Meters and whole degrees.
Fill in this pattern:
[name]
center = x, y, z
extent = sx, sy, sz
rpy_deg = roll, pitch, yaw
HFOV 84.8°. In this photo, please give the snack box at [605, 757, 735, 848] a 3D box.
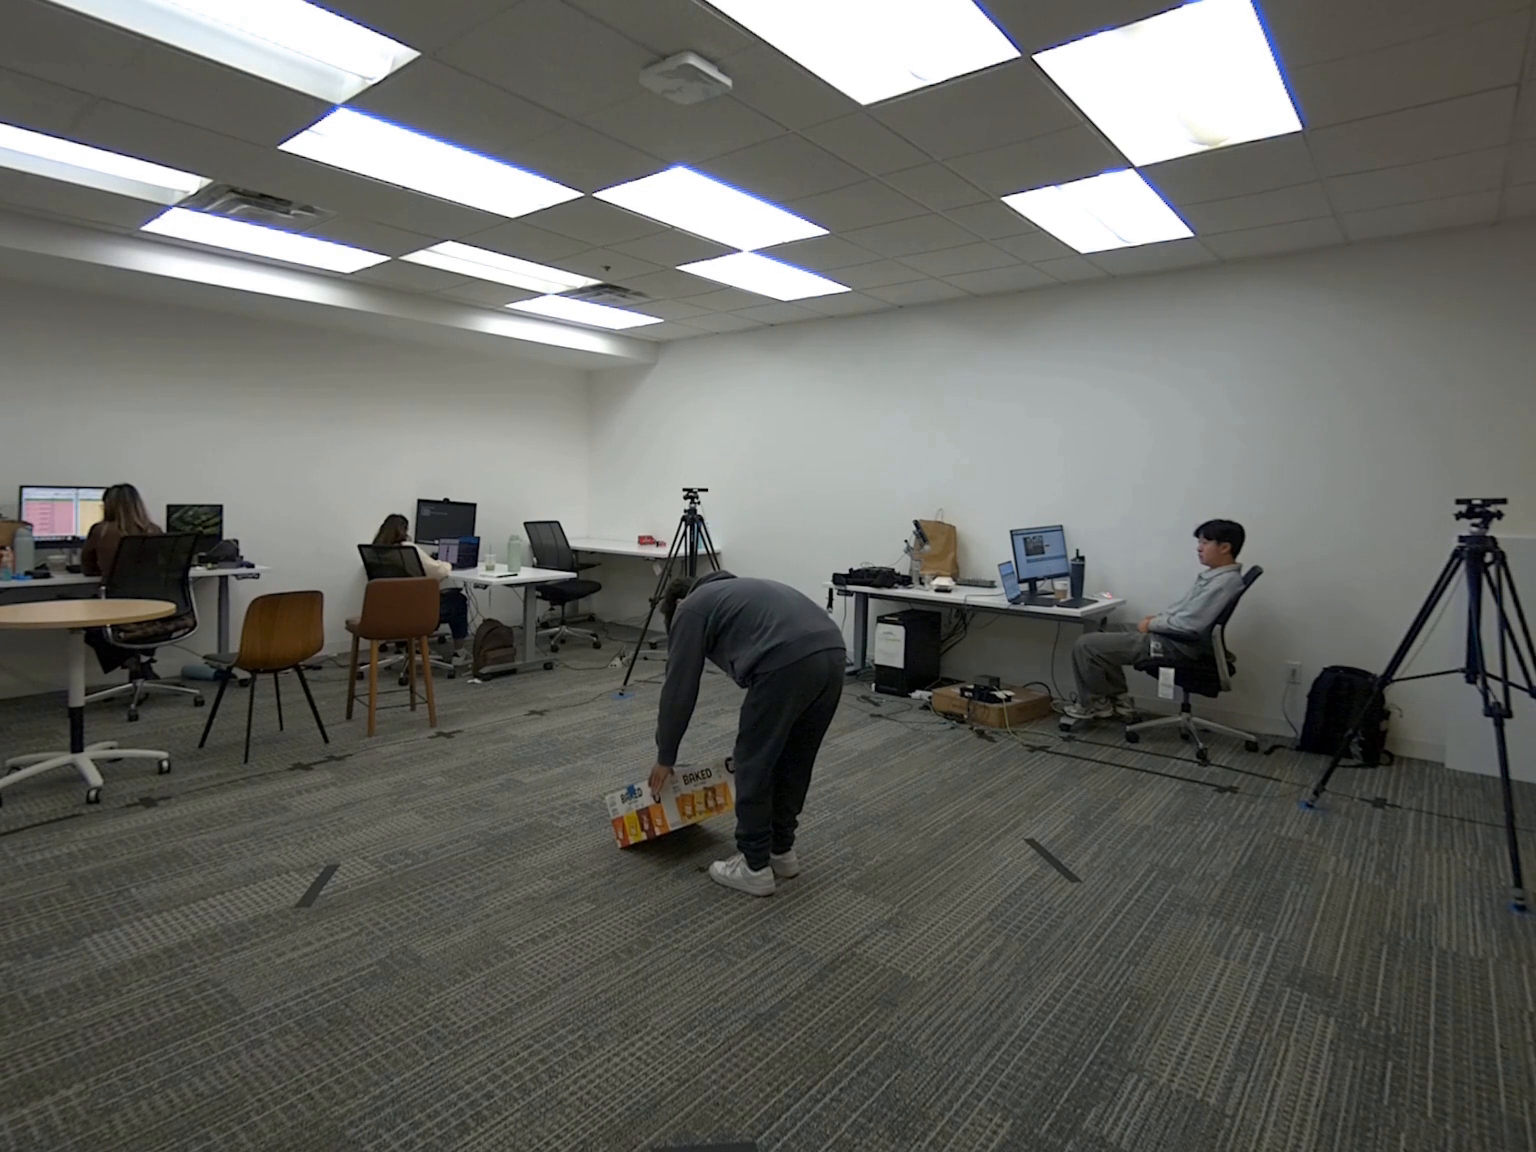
[snack box]
center = -0.374, 0.880, 3.341
extent = 0.393, 0.210, 0.344
rpy_deg = -3, -21, -47
